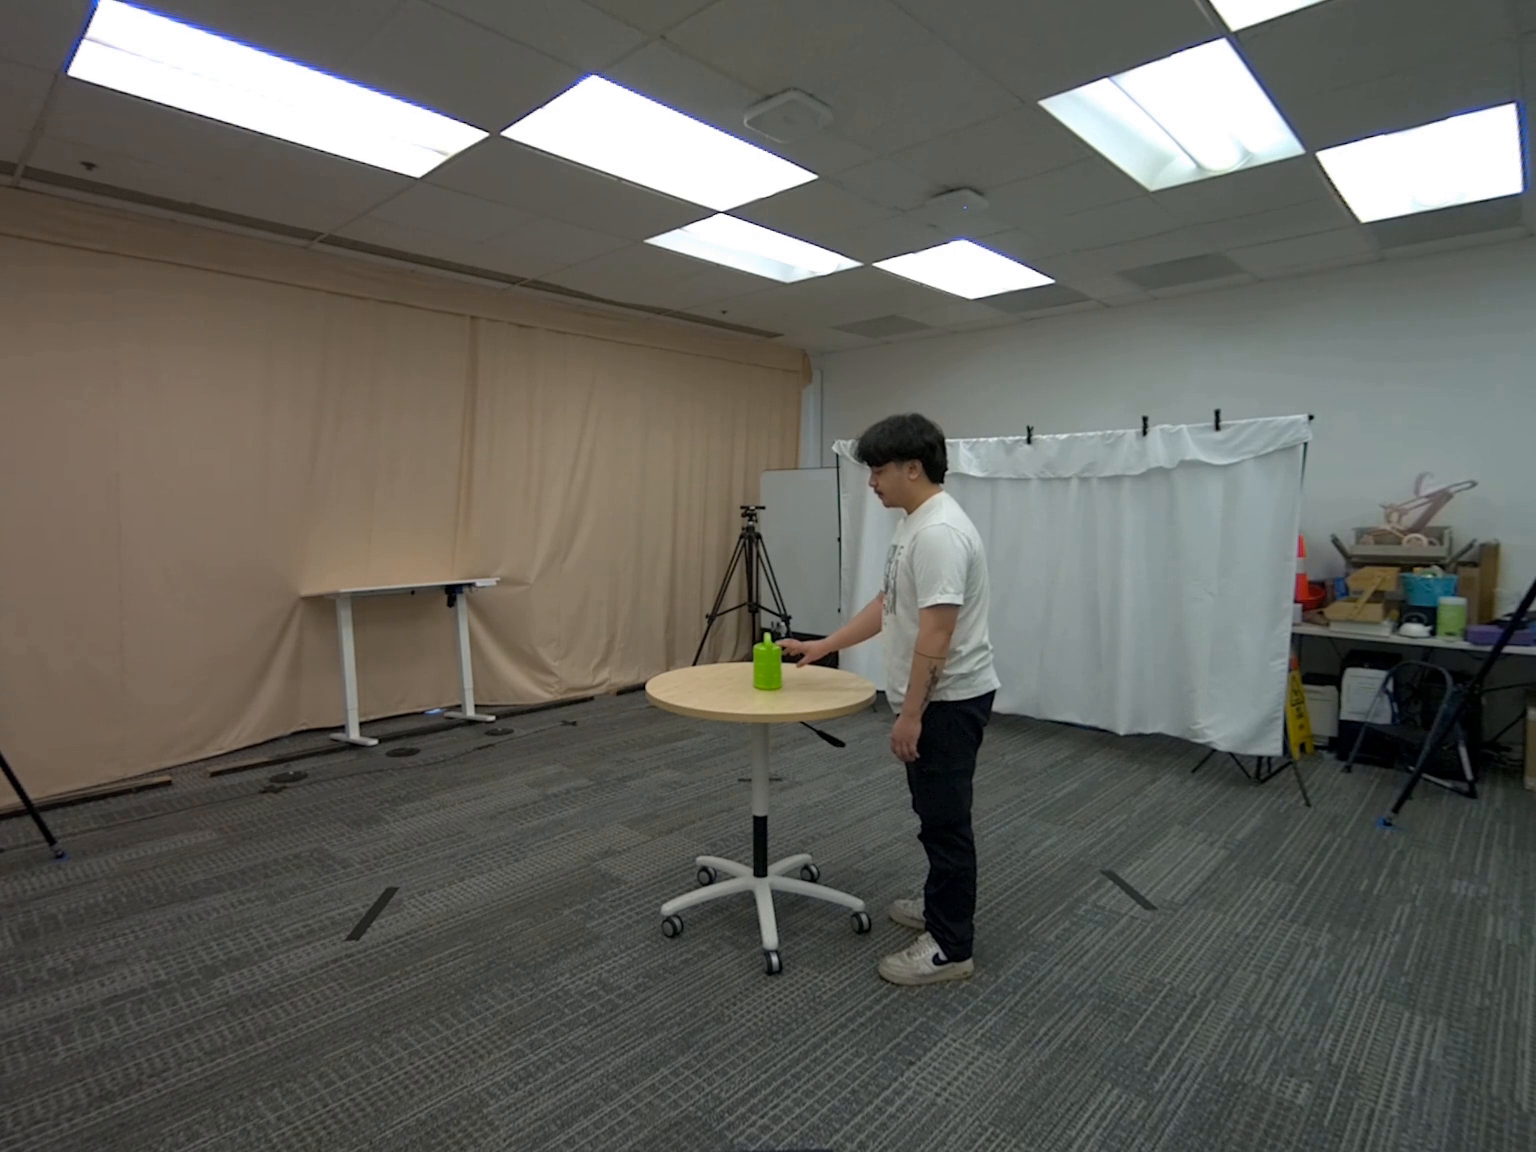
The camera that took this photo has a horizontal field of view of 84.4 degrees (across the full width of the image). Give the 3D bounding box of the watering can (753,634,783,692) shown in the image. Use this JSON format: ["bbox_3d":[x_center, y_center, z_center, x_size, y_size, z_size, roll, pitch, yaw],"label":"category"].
[{"bbox_3d":[-0.003,0.292,2.749,0.099,0.176,0.276,1,5,7],"label":"watering can"}]
